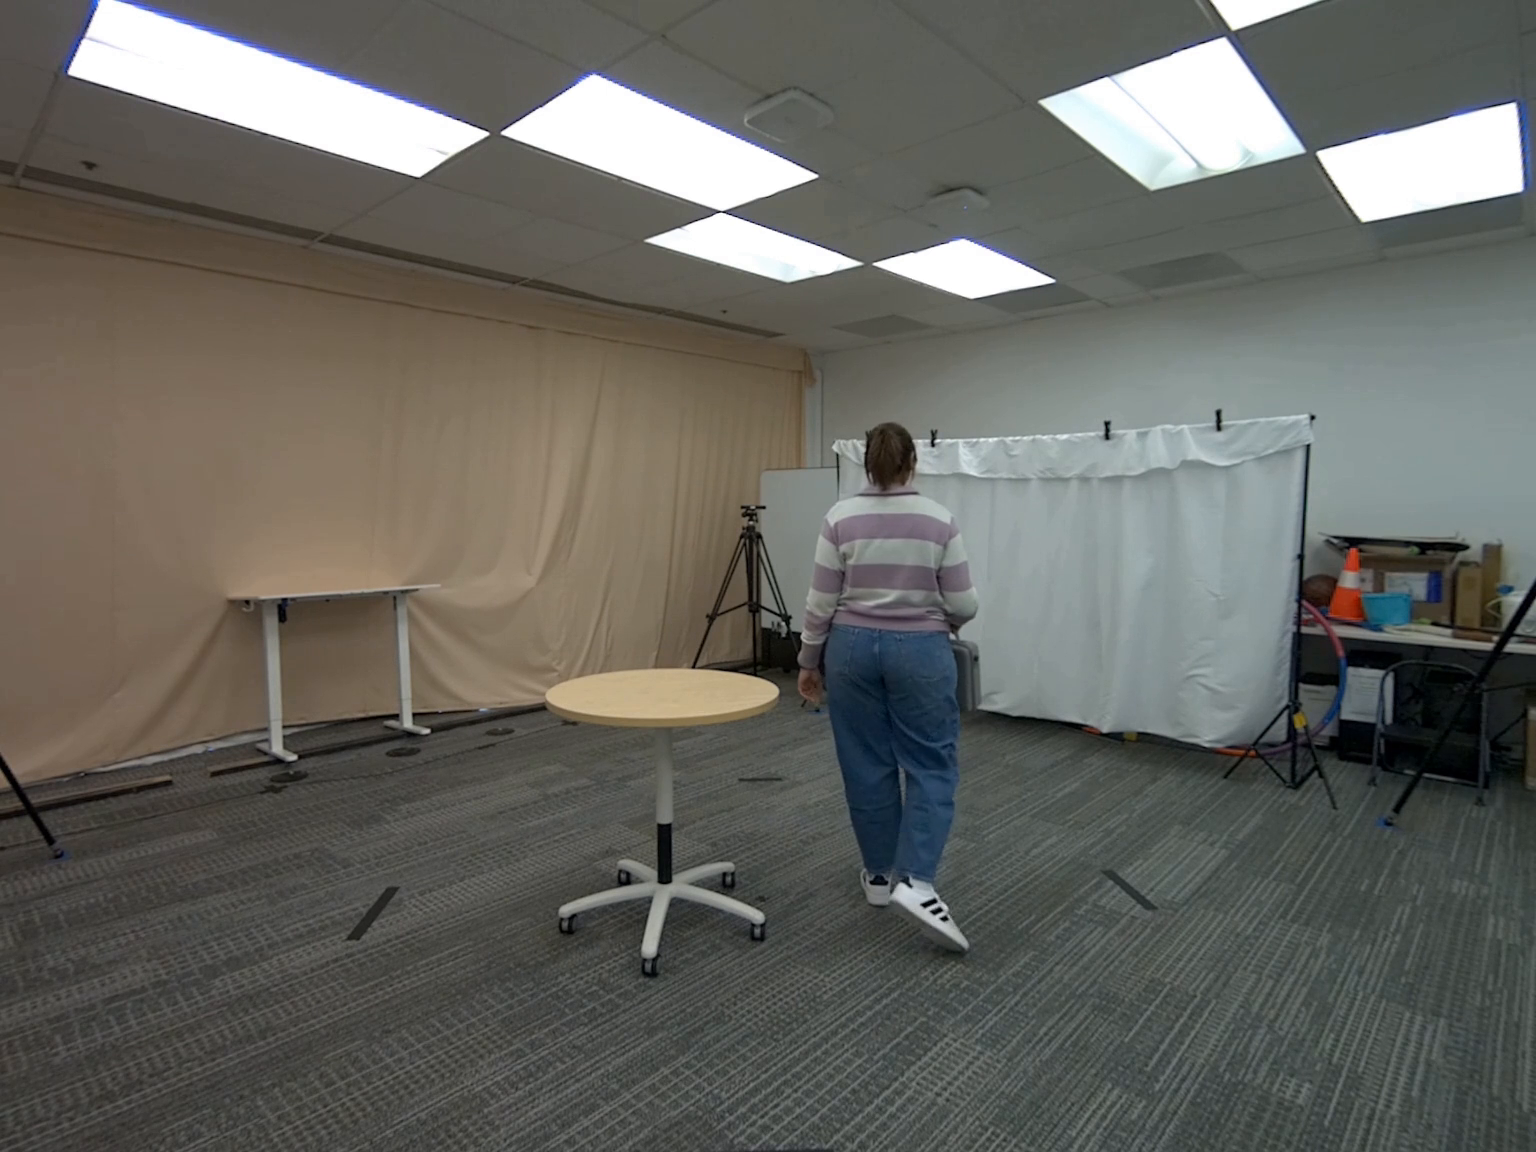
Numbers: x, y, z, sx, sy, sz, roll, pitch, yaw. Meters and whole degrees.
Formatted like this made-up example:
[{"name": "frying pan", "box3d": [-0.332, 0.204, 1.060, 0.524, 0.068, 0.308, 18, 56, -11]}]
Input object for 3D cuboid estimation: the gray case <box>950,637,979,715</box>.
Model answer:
[{"name": "gray case", "box3d": [0.652, 0.352, 3.092, 0.101, 0.259, 0.266, -12, 13, -43]}]
